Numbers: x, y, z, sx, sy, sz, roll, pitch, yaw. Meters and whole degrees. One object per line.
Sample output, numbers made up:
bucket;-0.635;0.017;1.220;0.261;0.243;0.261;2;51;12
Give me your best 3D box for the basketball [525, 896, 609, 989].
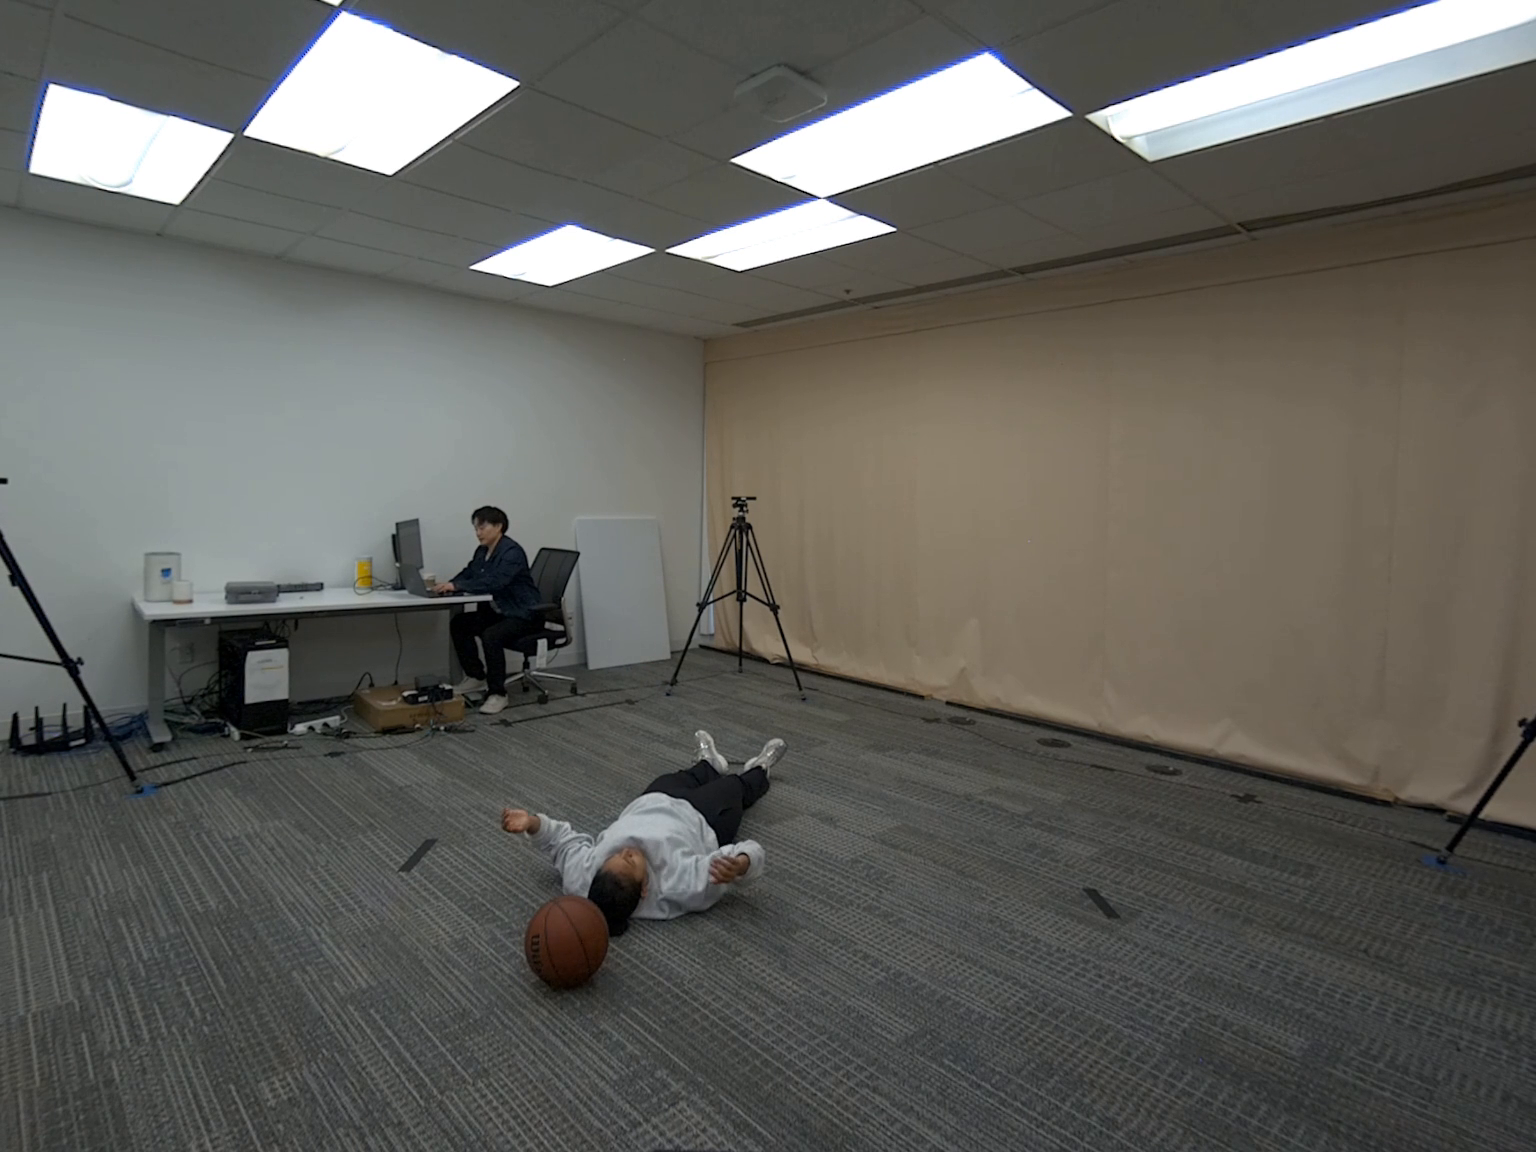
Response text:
basketball;-0.582;1.045;2.402;0.236;0.235;0.237;1;5;-1
